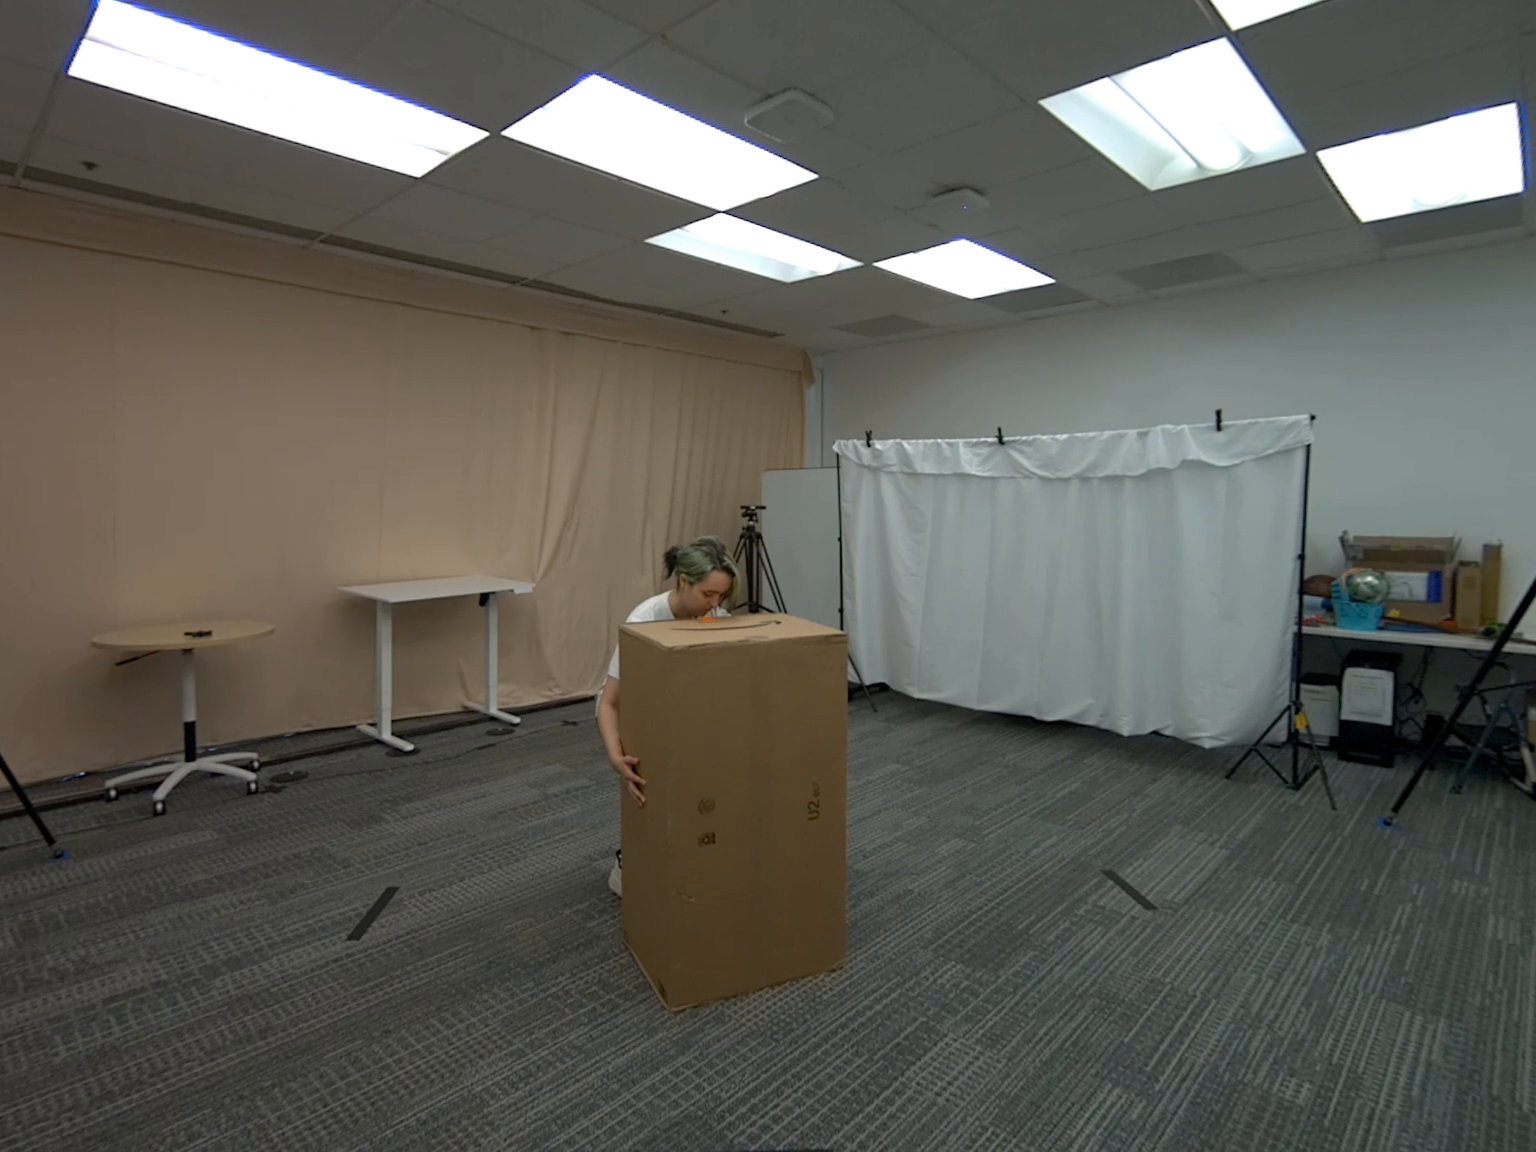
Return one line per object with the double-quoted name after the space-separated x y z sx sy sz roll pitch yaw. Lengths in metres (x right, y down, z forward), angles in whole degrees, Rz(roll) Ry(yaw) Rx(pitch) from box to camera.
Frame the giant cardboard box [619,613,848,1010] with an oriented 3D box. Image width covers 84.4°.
-0.110 0.665 2.576 0.564 1.023 0.438 -2 5 -26 "giant cardboard box"
